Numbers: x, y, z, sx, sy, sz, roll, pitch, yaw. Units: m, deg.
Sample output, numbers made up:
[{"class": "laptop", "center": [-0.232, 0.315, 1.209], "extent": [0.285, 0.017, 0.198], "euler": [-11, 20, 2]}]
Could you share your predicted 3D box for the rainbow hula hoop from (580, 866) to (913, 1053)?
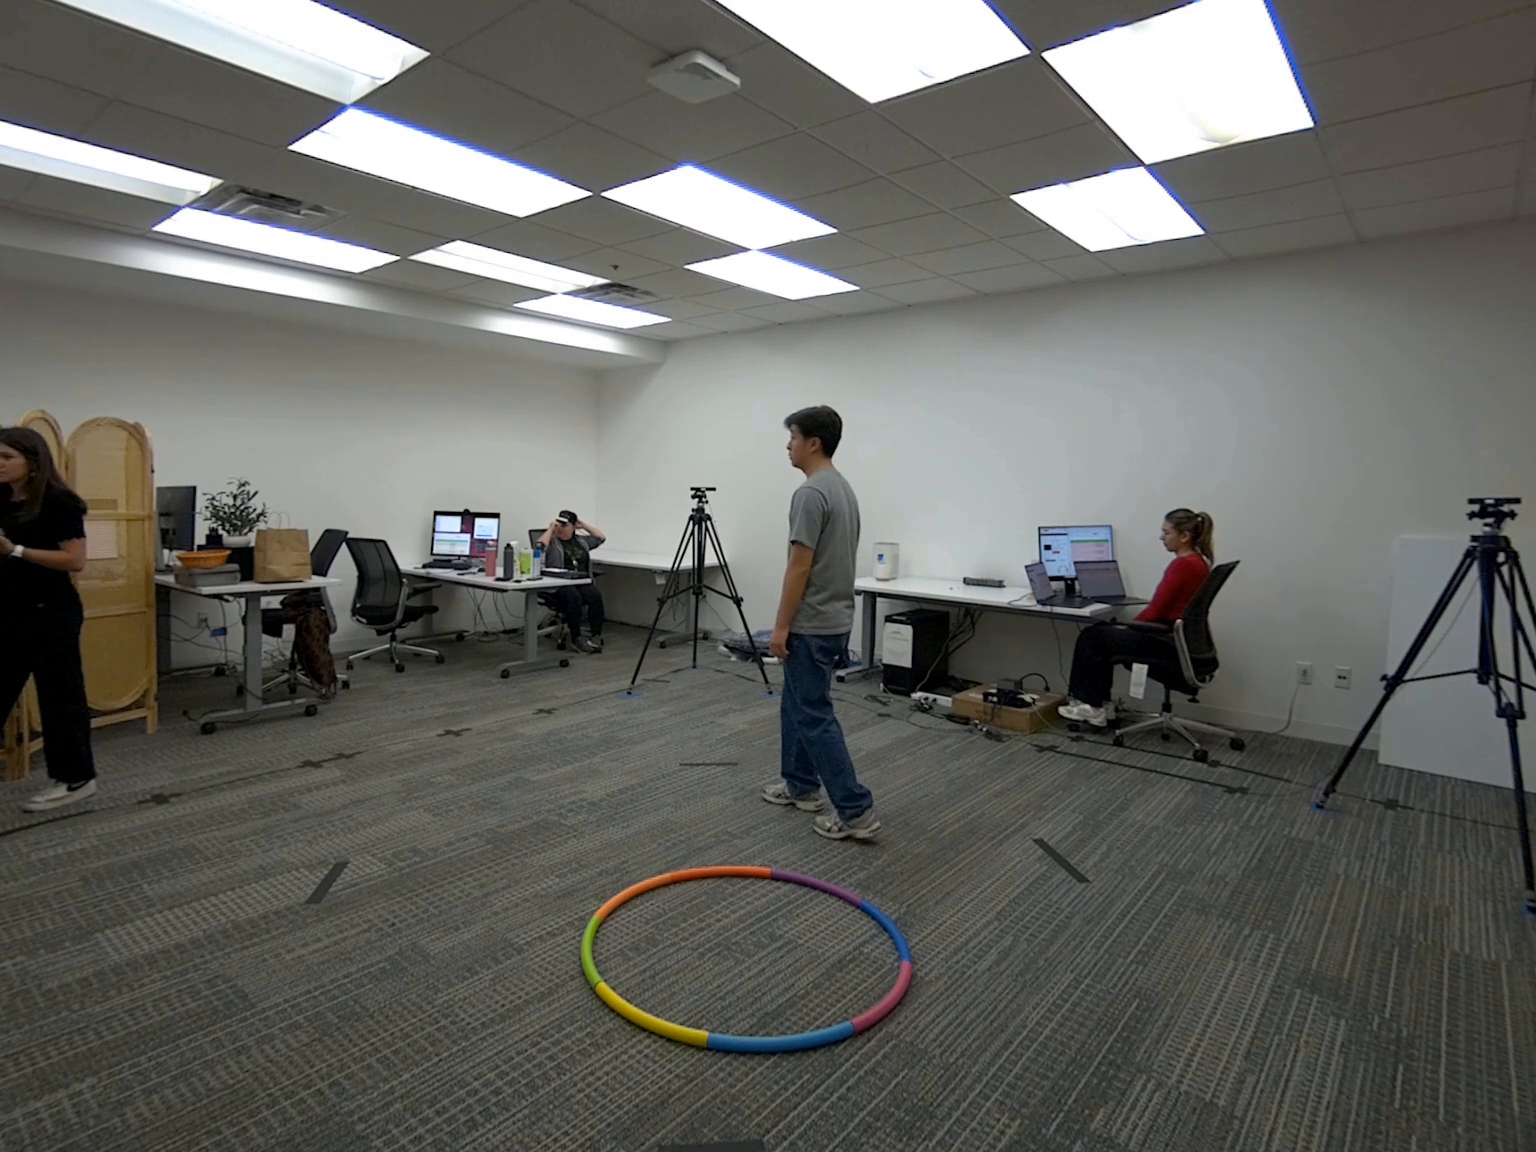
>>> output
[{"class": "rainbow hula hoop", "center": [-0.076, 1.088, 2.577], "extent": [0.978, 0.035, 0.984], "euler": [1, 6, -2]}]
